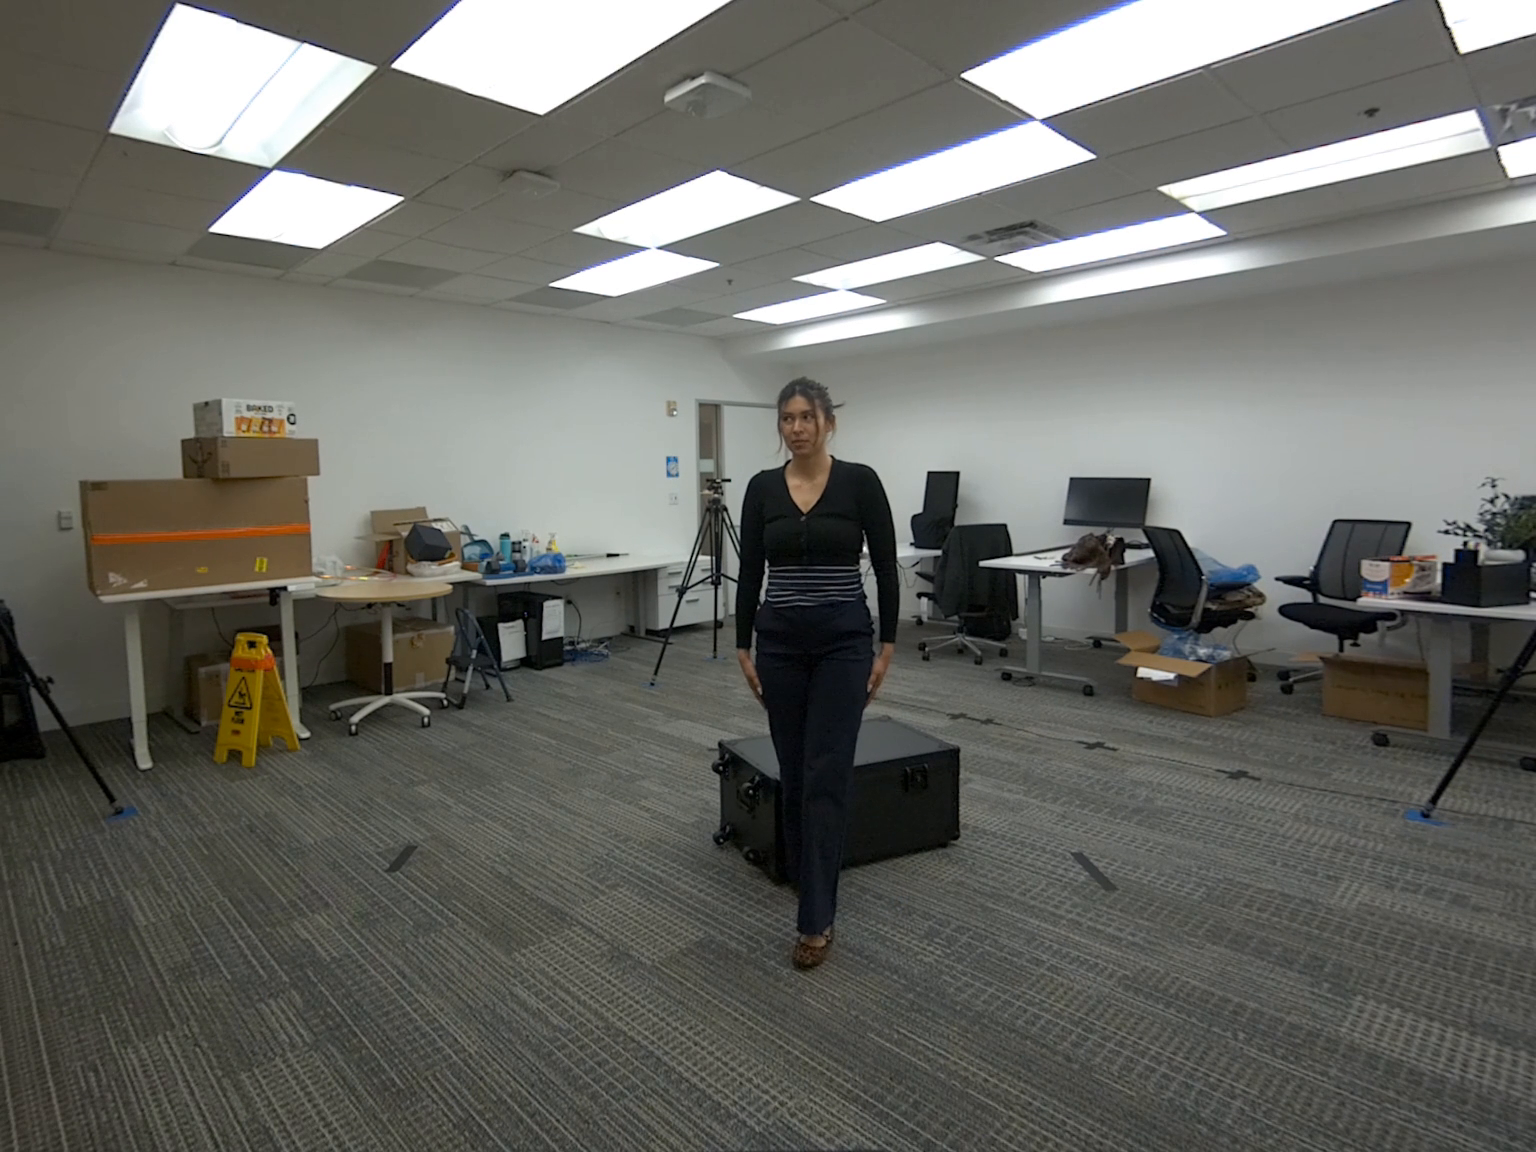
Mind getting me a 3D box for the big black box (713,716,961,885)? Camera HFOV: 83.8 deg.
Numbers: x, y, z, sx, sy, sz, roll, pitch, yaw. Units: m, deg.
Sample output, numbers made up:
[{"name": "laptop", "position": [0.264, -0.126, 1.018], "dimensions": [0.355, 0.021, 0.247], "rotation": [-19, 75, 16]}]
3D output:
[{"name": "big black box", "position": [0.290, 0.827, 3.291], "dimensions": [0.844, 0.394, 0.534], "rotation": [-4, 6, -25]}]
